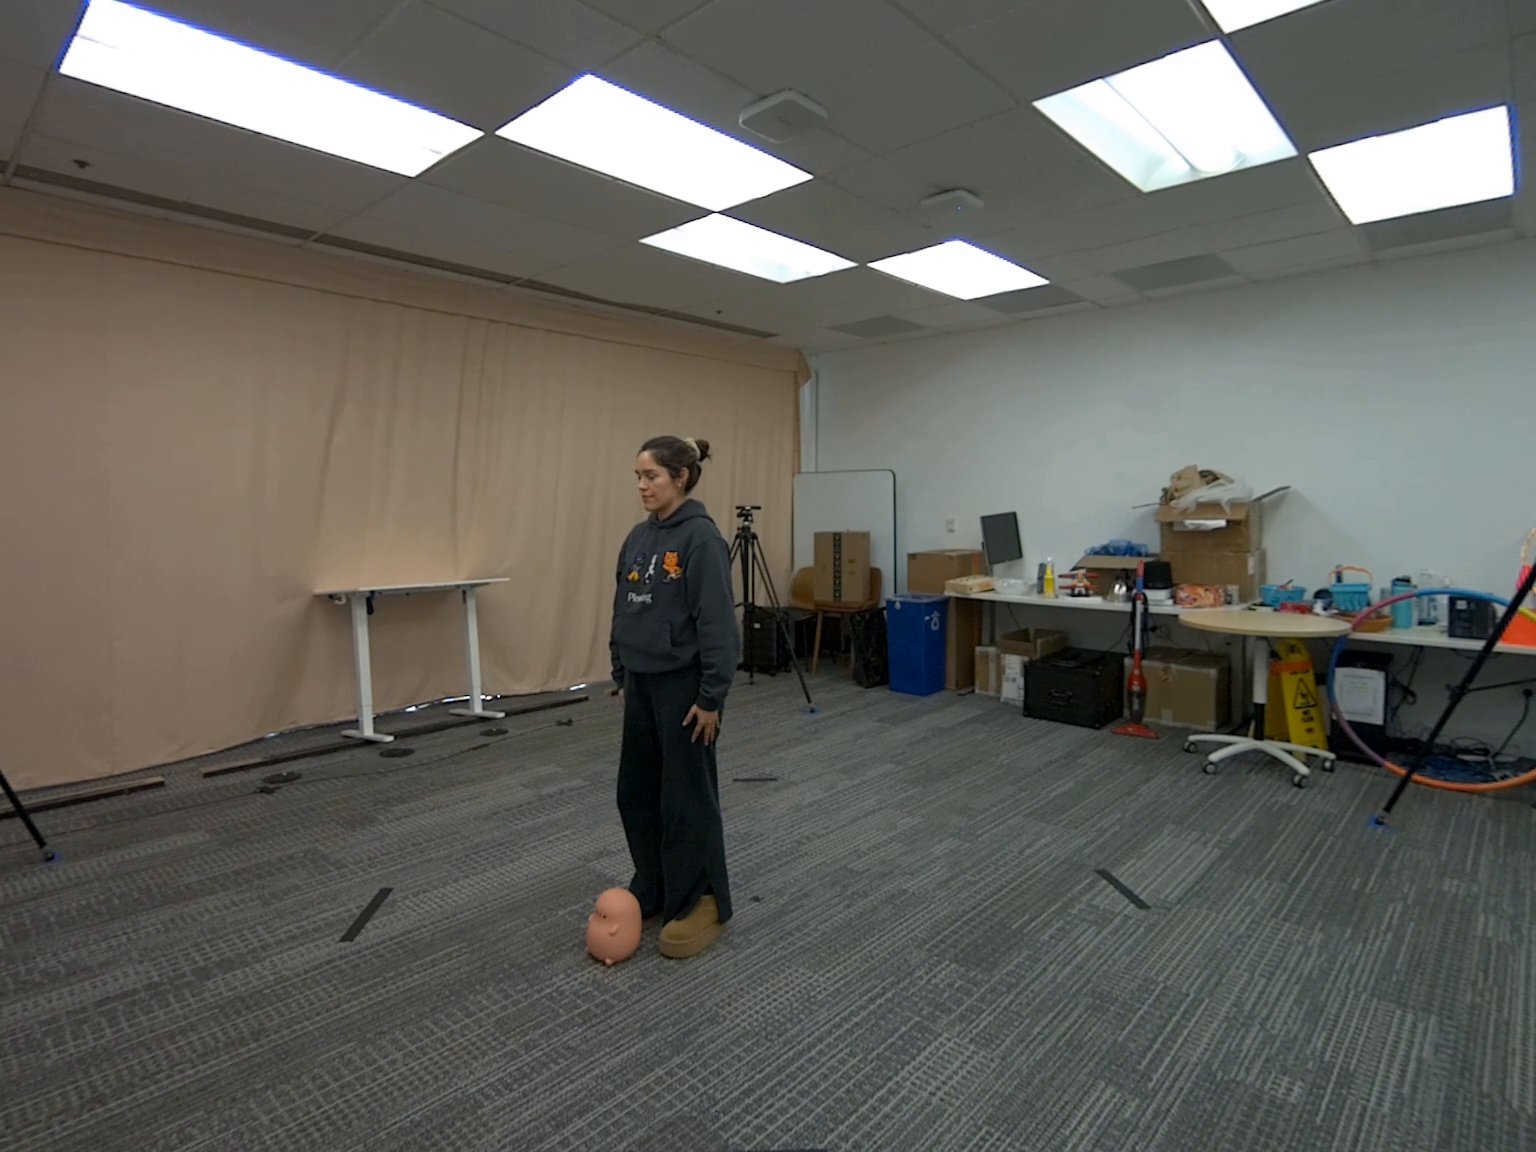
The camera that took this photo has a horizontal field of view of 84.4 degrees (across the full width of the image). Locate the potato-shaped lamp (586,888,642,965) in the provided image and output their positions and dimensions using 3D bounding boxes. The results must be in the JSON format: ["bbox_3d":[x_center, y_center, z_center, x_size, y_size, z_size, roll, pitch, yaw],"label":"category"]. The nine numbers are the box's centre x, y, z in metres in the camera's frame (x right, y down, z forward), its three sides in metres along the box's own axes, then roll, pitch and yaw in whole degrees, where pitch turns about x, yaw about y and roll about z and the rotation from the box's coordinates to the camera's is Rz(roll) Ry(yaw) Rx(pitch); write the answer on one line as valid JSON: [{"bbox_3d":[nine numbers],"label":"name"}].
[{"bbox_3d":[-0.458,1.079,2.623,0.170,0.198,0.166,4,4,41],"label":"potato-shaped lamp"}]
